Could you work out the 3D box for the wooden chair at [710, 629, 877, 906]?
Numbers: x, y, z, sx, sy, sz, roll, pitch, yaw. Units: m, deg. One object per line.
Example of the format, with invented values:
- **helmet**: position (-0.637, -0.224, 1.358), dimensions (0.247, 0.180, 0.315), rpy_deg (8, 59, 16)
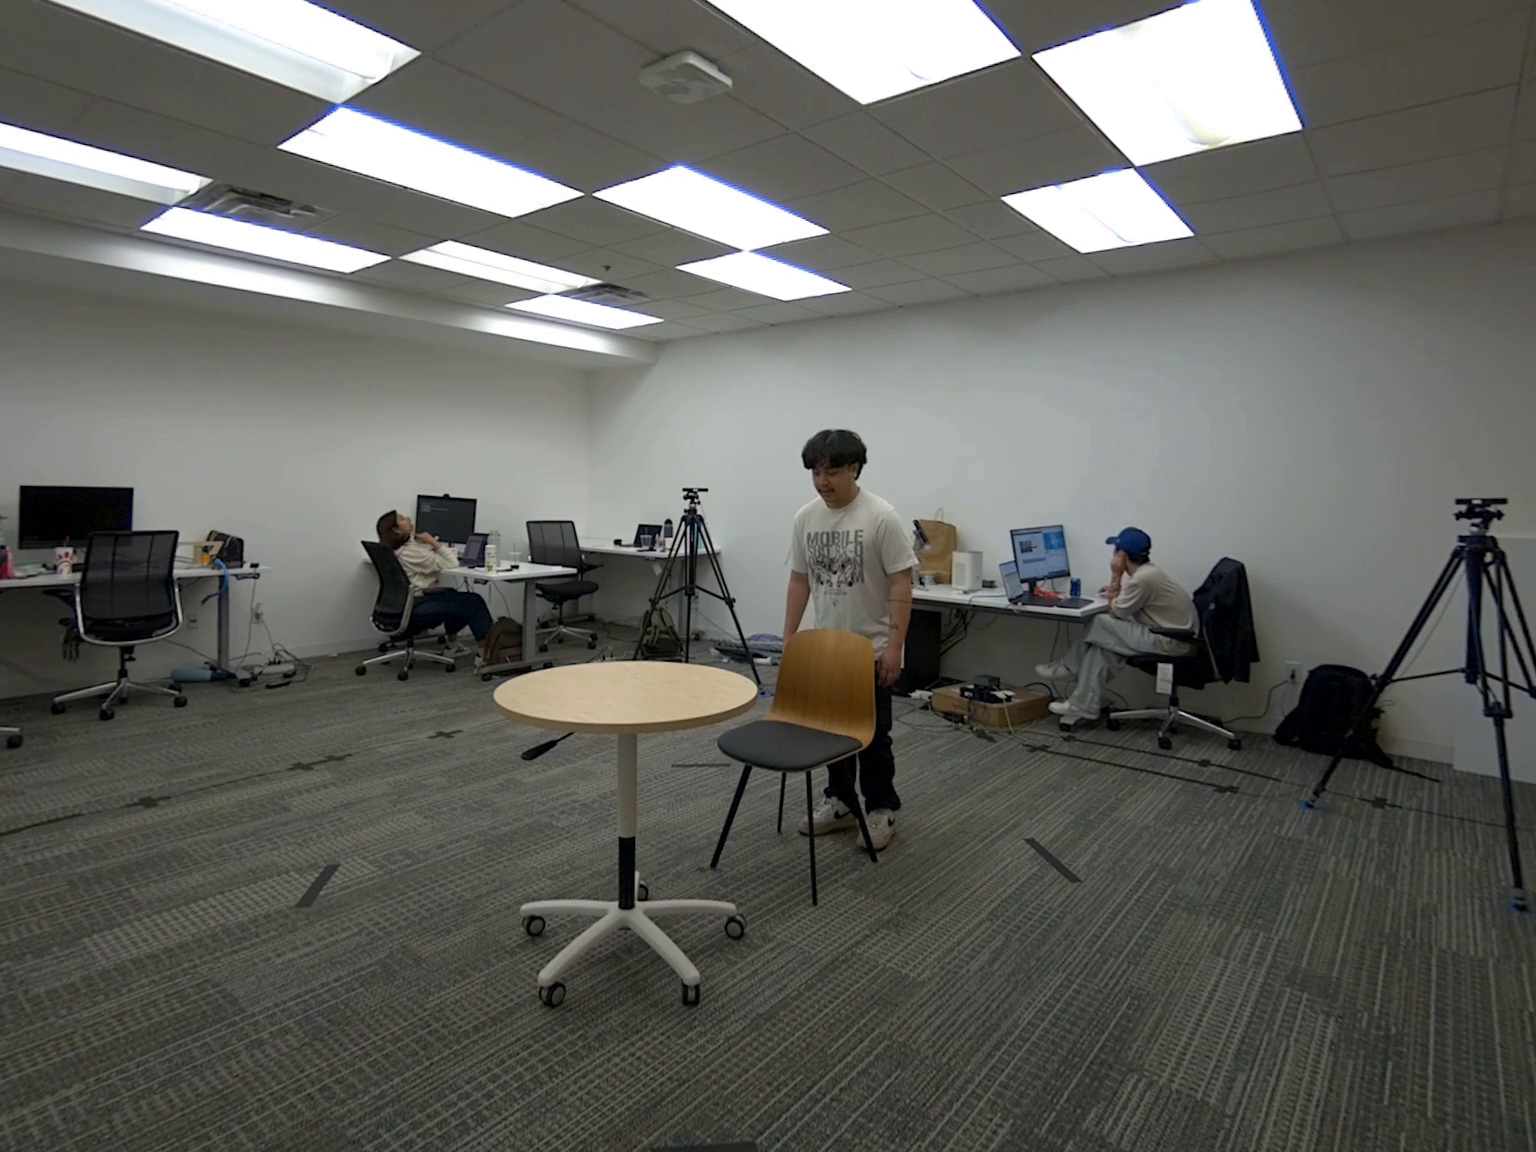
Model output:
- **wooden chair**: position (0.095, 0.646, 3.127), dimensions (0.494, 0.877, 0.506), rpy_deg (4, 0, 36)
